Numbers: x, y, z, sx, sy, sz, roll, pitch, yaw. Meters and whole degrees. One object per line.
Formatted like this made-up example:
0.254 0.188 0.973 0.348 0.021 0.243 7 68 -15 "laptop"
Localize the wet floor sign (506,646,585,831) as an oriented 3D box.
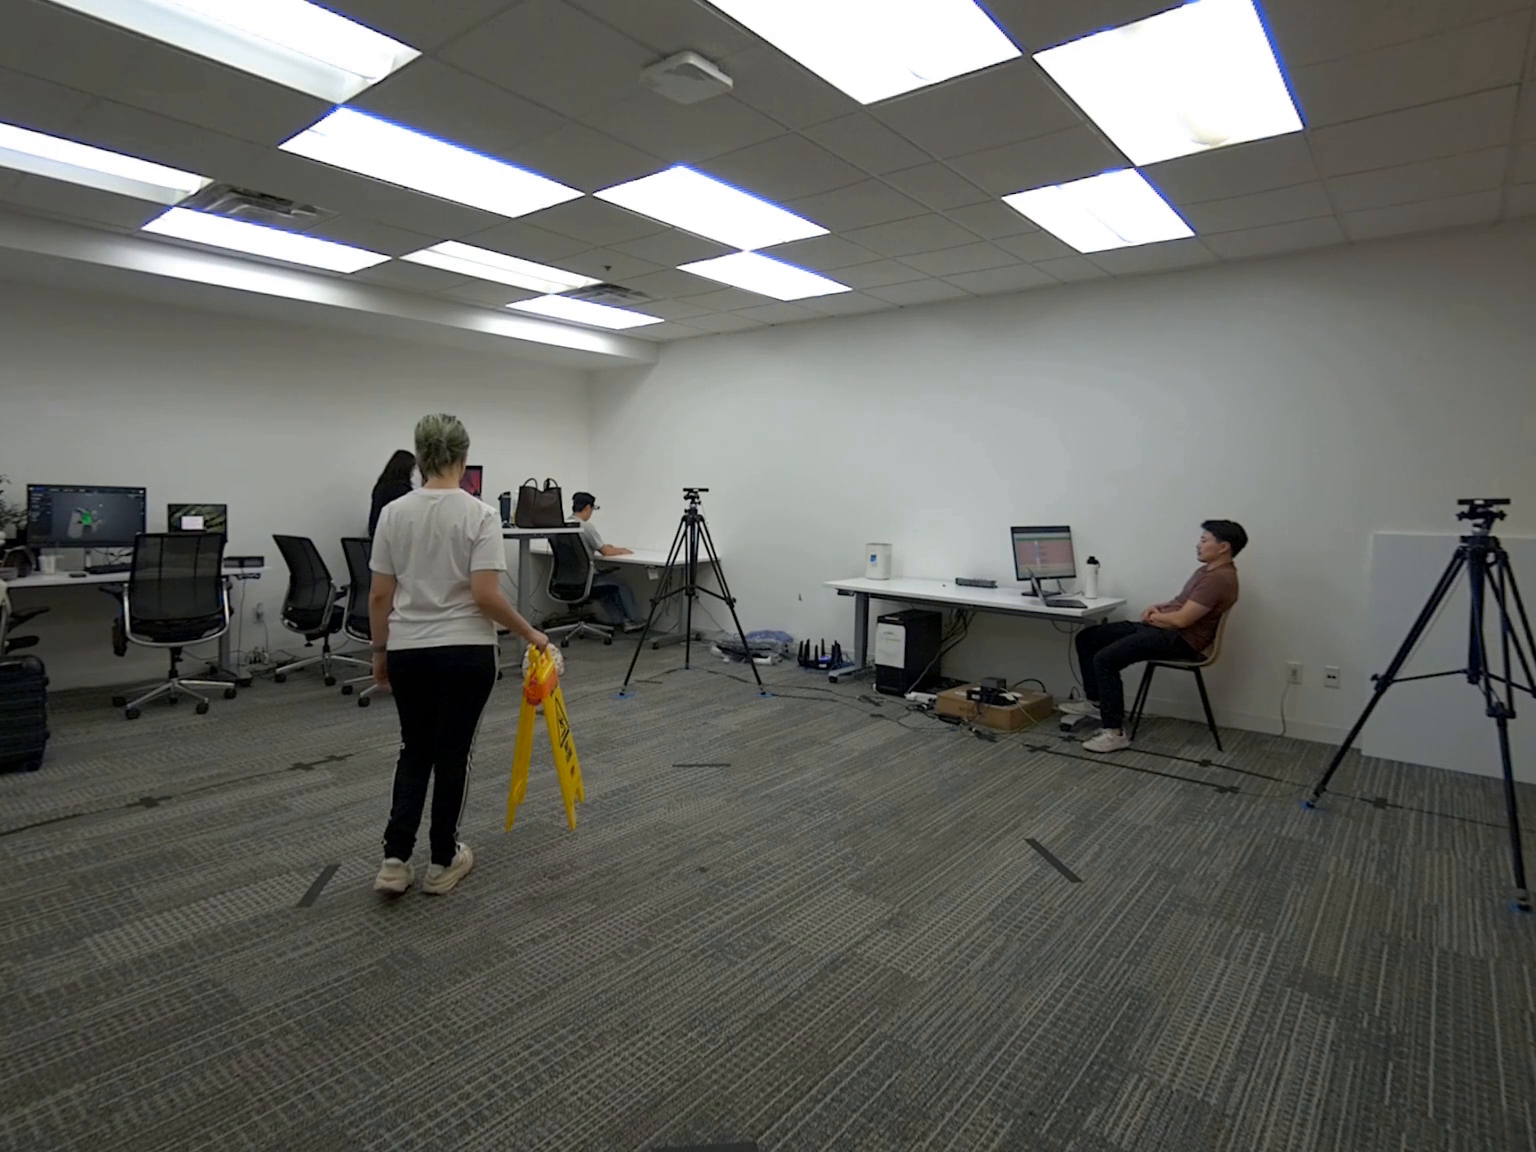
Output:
-0.827 0.552 3.047 0.288 0.640 0.286 1 9 -5 "wet floor sign"
